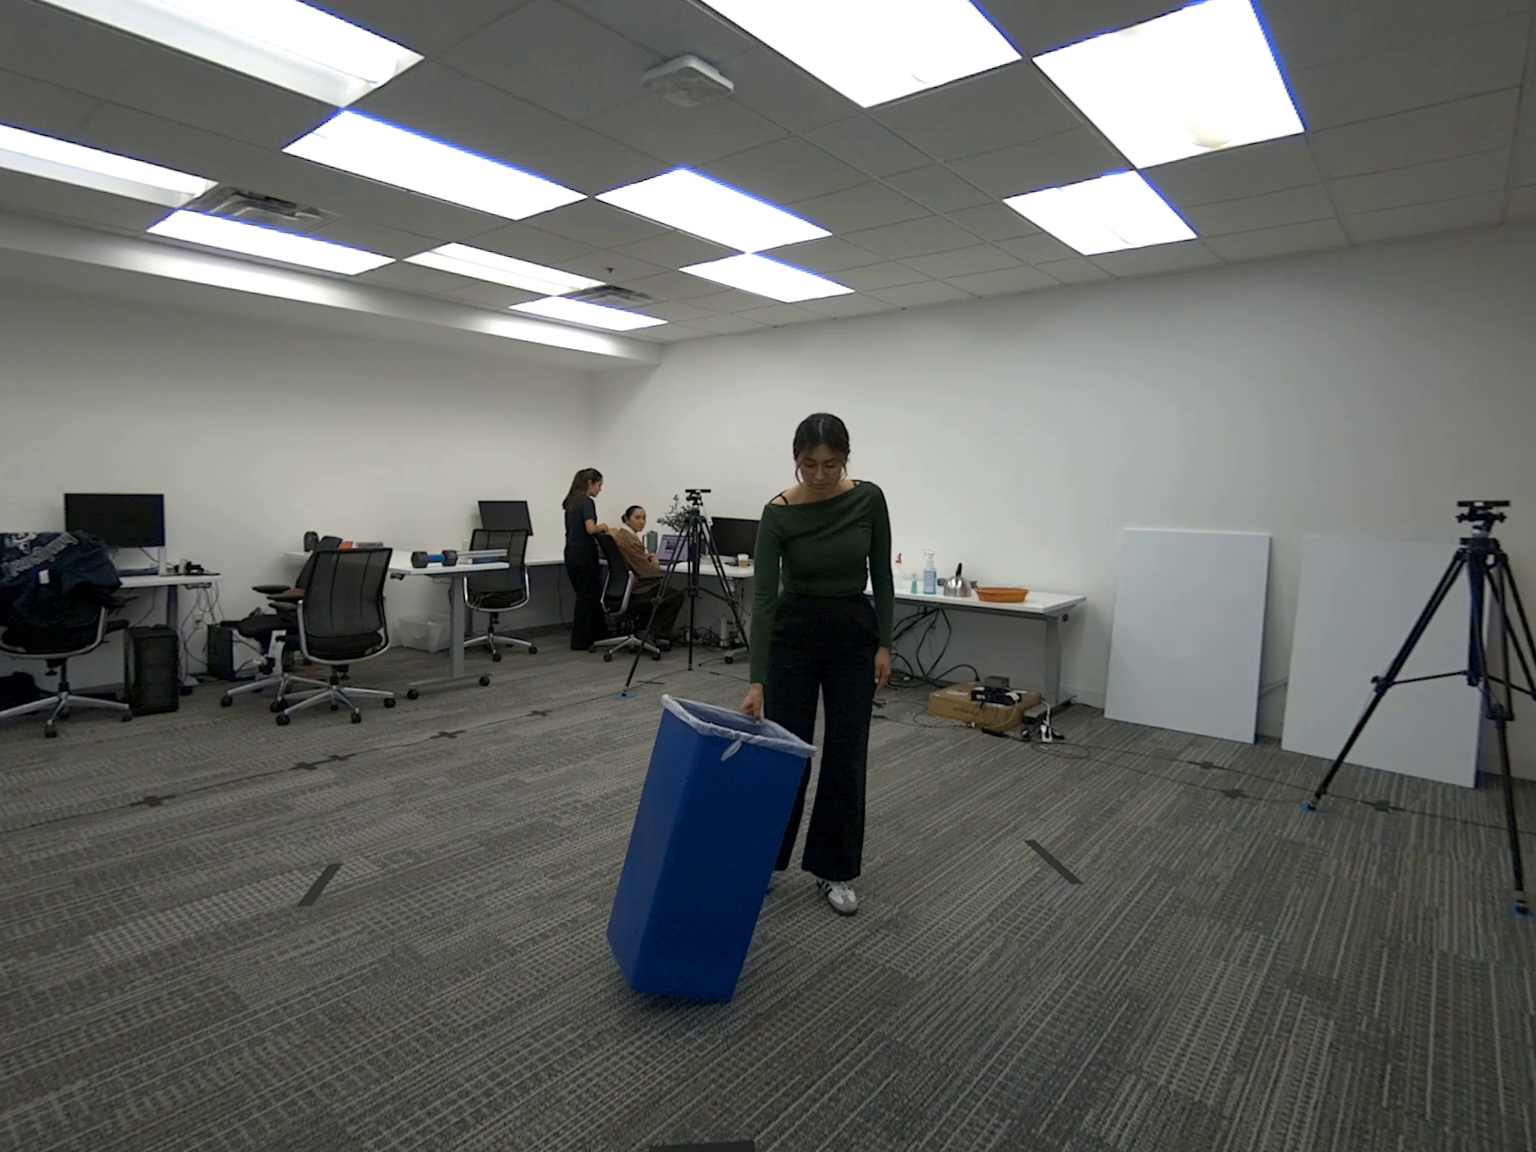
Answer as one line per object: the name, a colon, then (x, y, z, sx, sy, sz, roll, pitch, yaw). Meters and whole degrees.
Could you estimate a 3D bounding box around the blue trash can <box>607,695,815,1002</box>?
blue trash can: (-0.199, 0.756, 2.410, 0.363, 0.715, 0.388, 17, -4, -25)
